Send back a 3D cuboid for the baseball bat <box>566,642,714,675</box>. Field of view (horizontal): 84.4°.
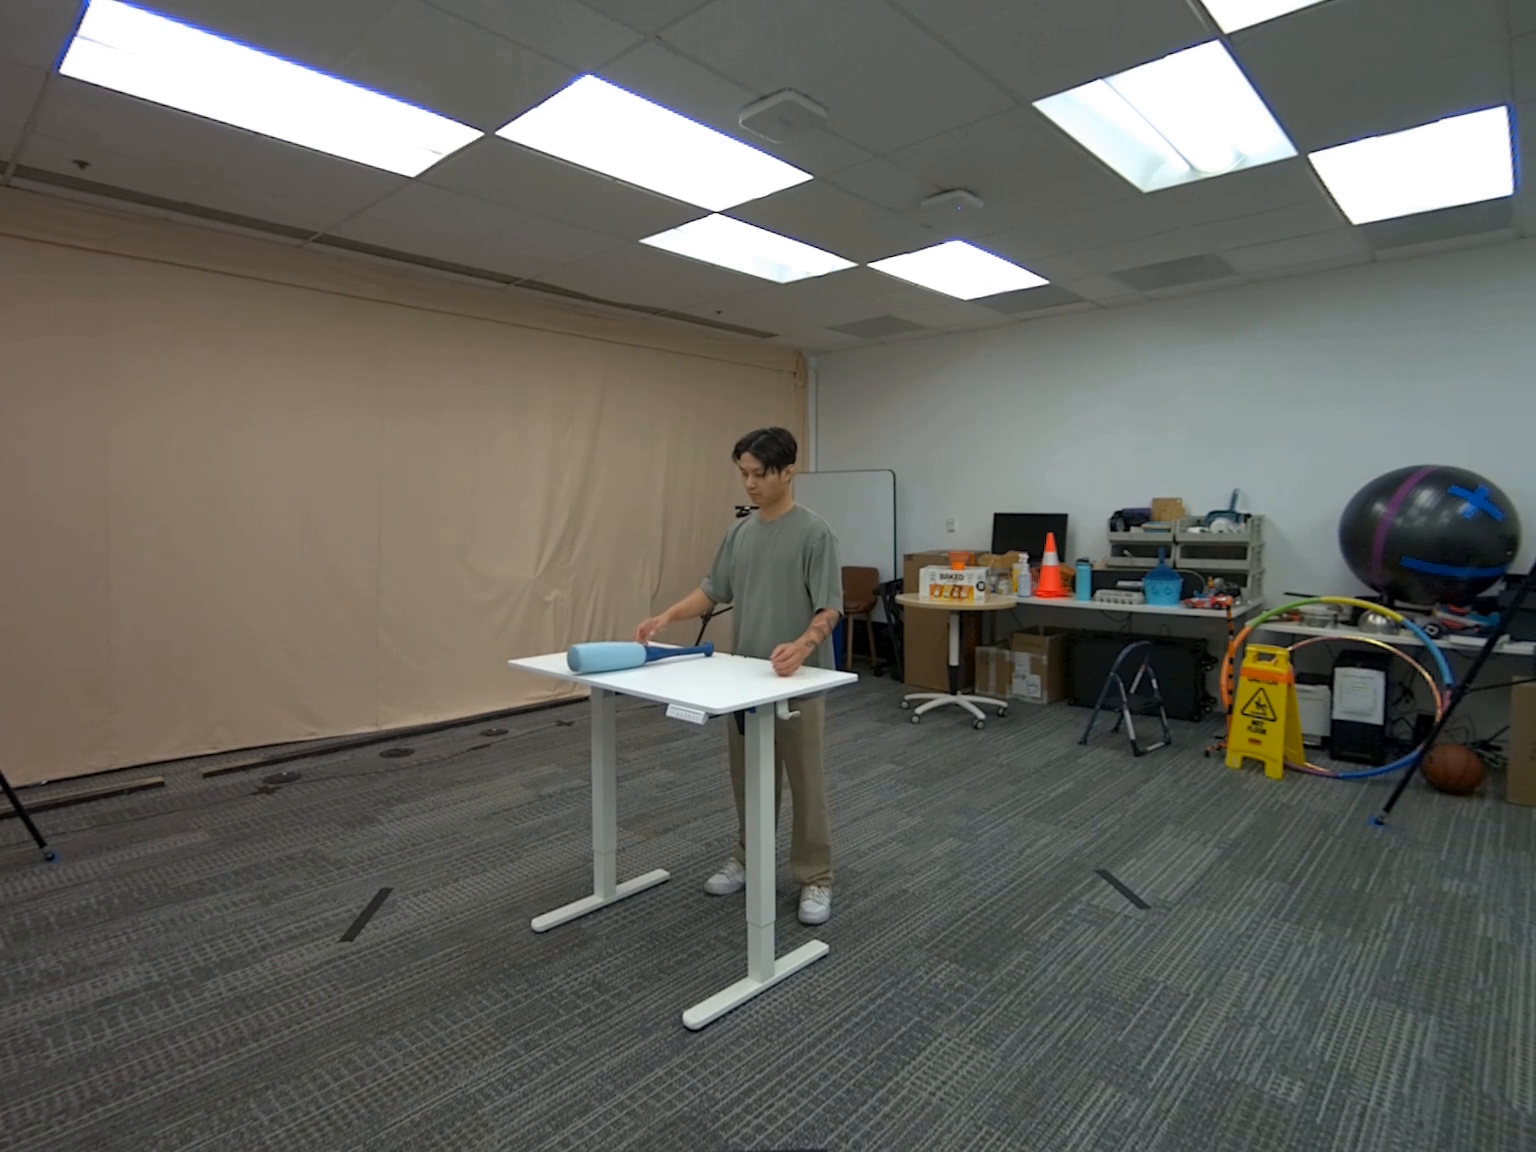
[{"bbox_3d":[-0.395,0.251,2.719,0.526,0.089,0.092,1,2,-40],"label":"baseball bat"}]
